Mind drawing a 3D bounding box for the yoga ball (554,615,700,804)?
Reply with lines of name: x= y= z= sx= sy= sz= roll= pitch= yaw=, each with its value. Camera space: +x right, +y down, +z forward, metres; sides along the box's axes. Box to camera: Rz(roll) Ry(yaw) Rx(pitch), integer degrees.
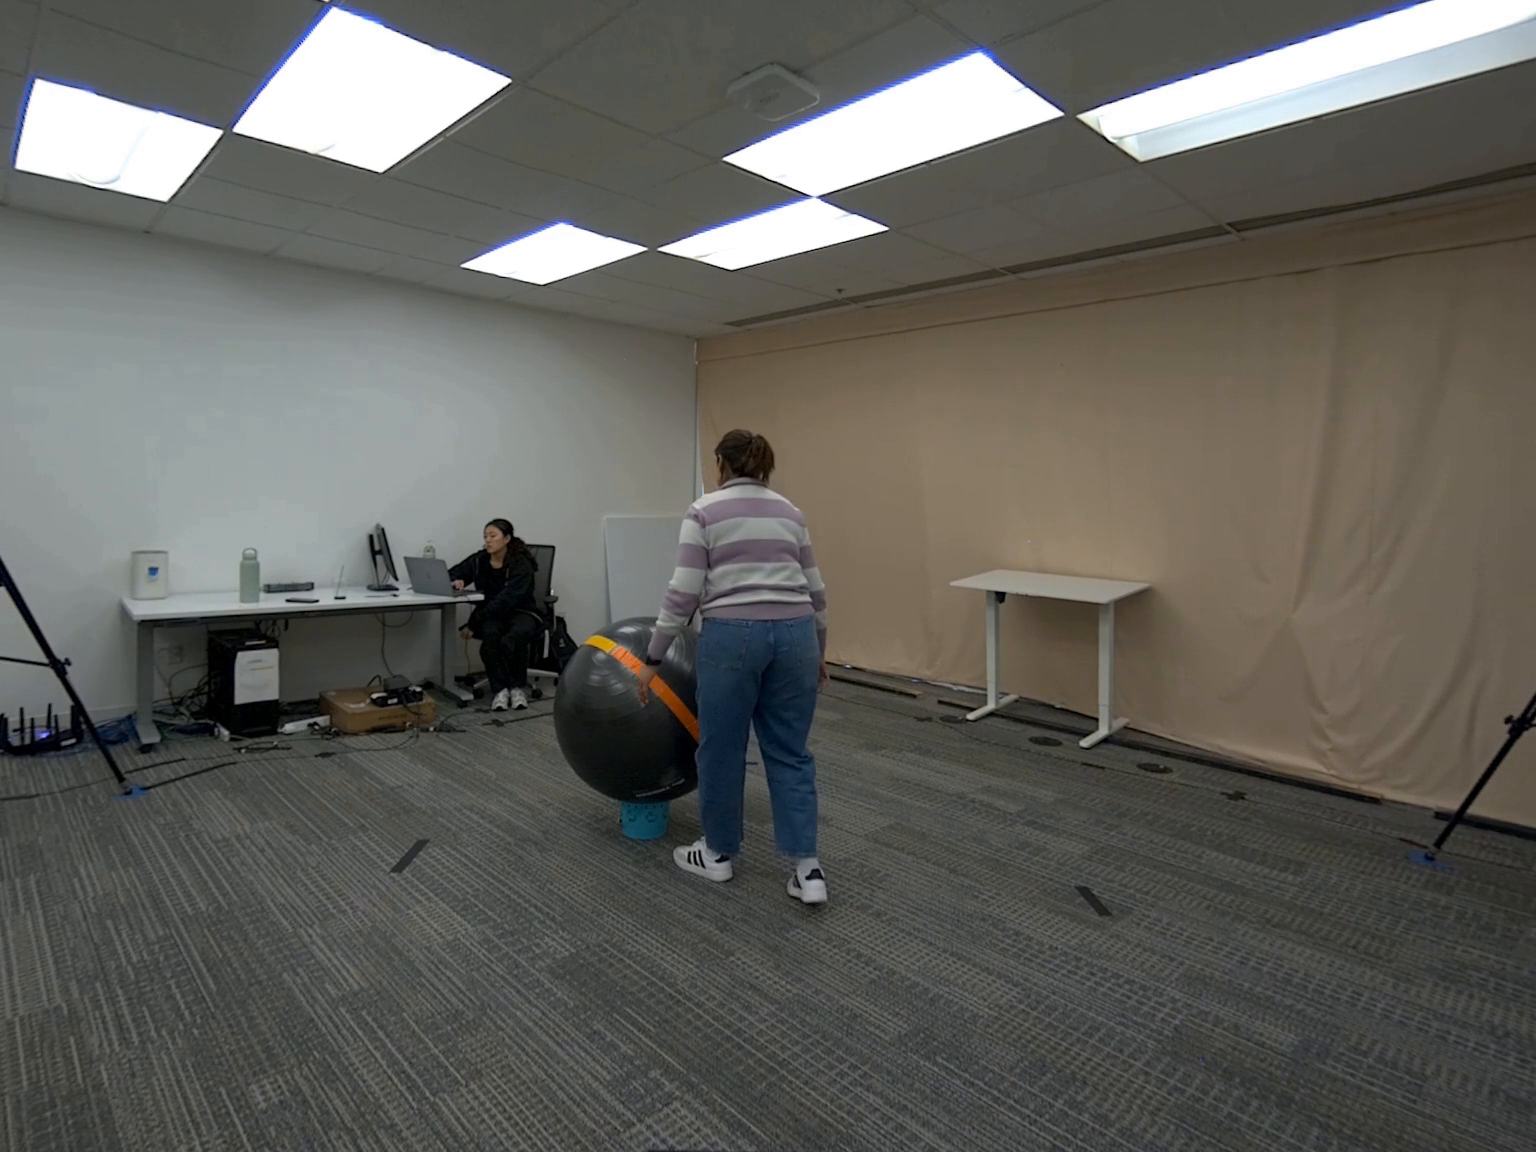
yoga ball: x=-0.519 y=0.560 z=3.502 sx=0.757 sy=0.756 sz=0.761 roll=1 pitch=4 yaw=-1
